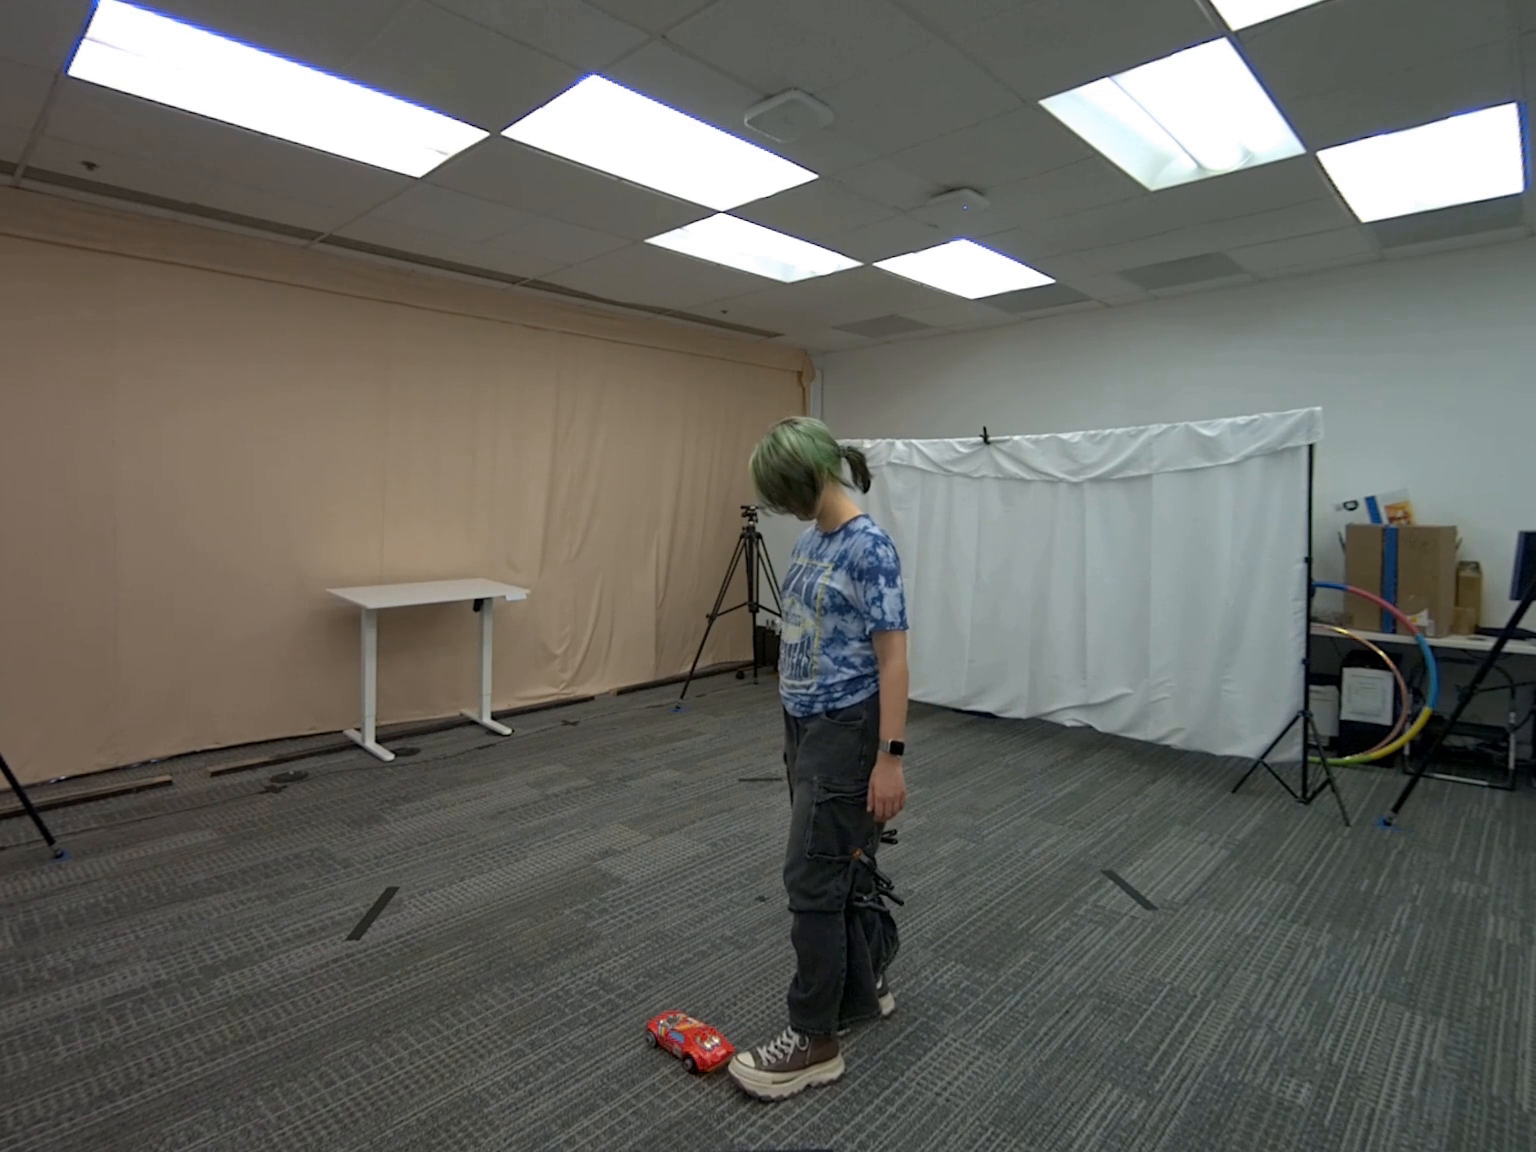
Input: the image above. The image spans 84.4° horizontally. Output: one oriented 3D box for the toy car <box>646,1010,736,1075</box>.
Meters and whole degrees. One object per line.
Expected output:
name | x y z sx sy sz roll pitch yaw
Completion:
toy car | -0.190 1.188 2.134 0.262 0.083 0.126 -11 -3 43
